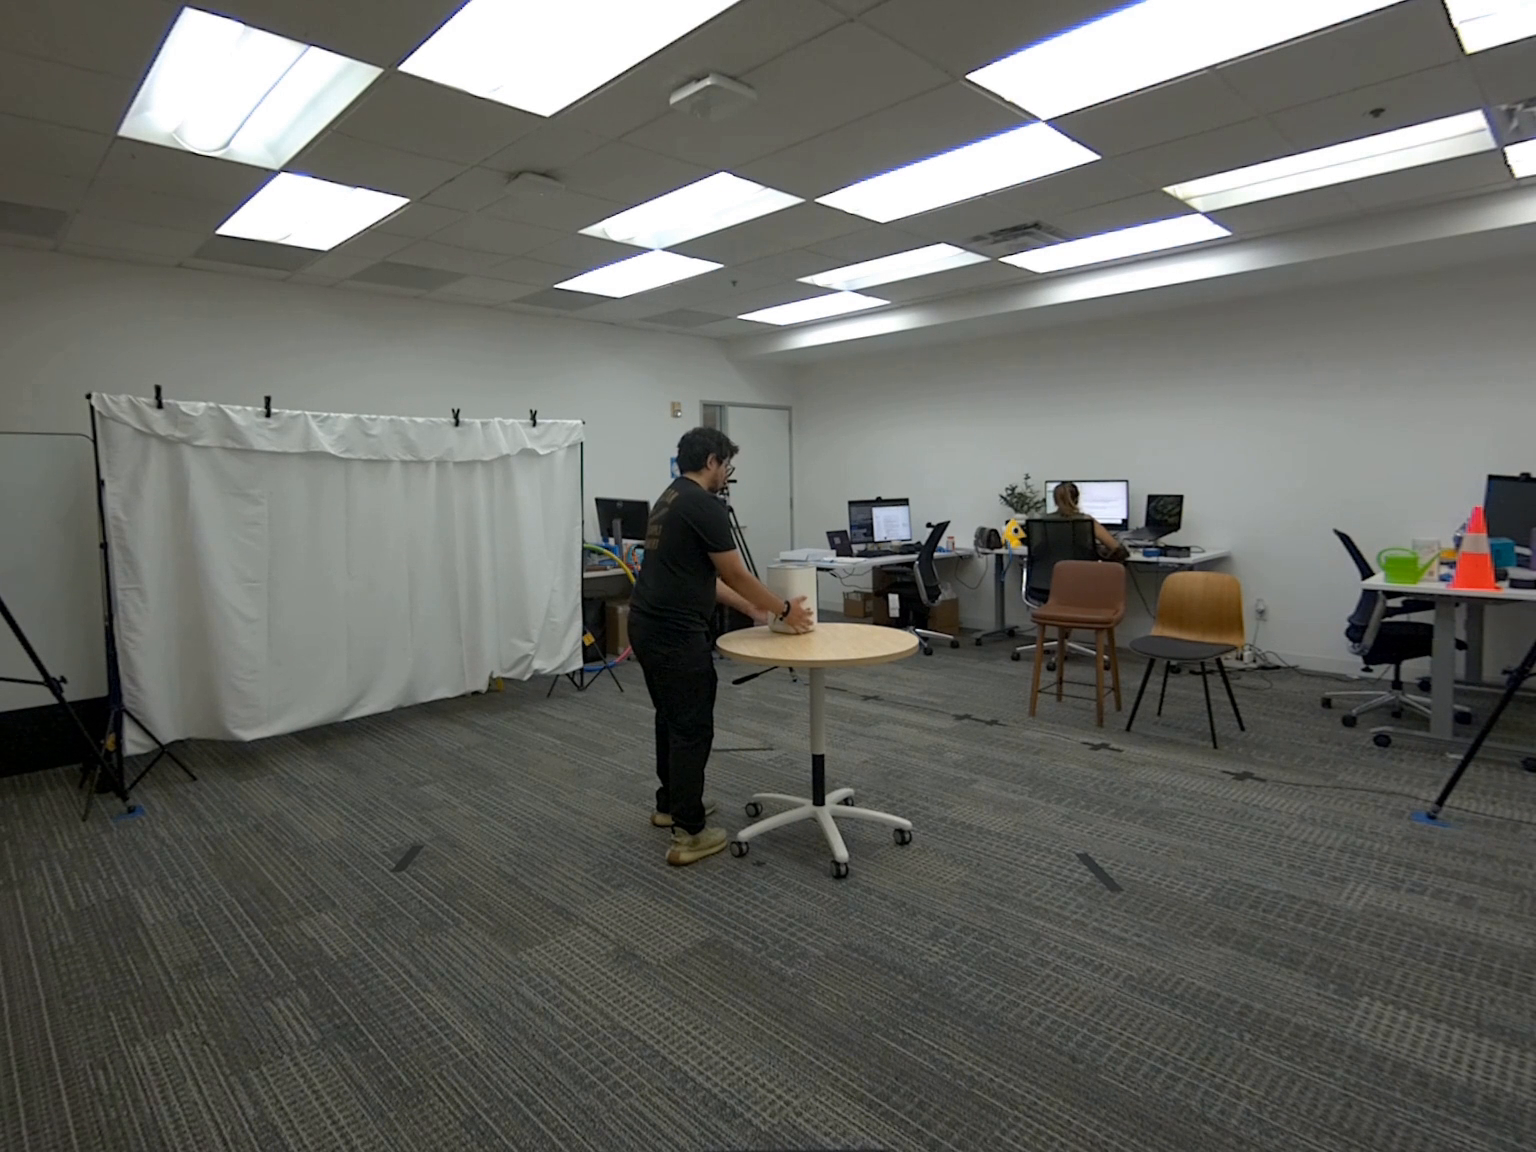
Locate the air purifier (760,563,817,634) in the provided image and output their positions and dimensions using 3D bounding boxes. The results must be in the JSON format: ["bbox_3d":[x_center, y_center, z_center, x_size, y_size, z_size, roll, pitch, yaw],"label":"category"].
[{"bbox_3d":[0.099,0.087,3.463,0.166,0.265,0.177,-3,4,-45],"label":"air purifier"}]
